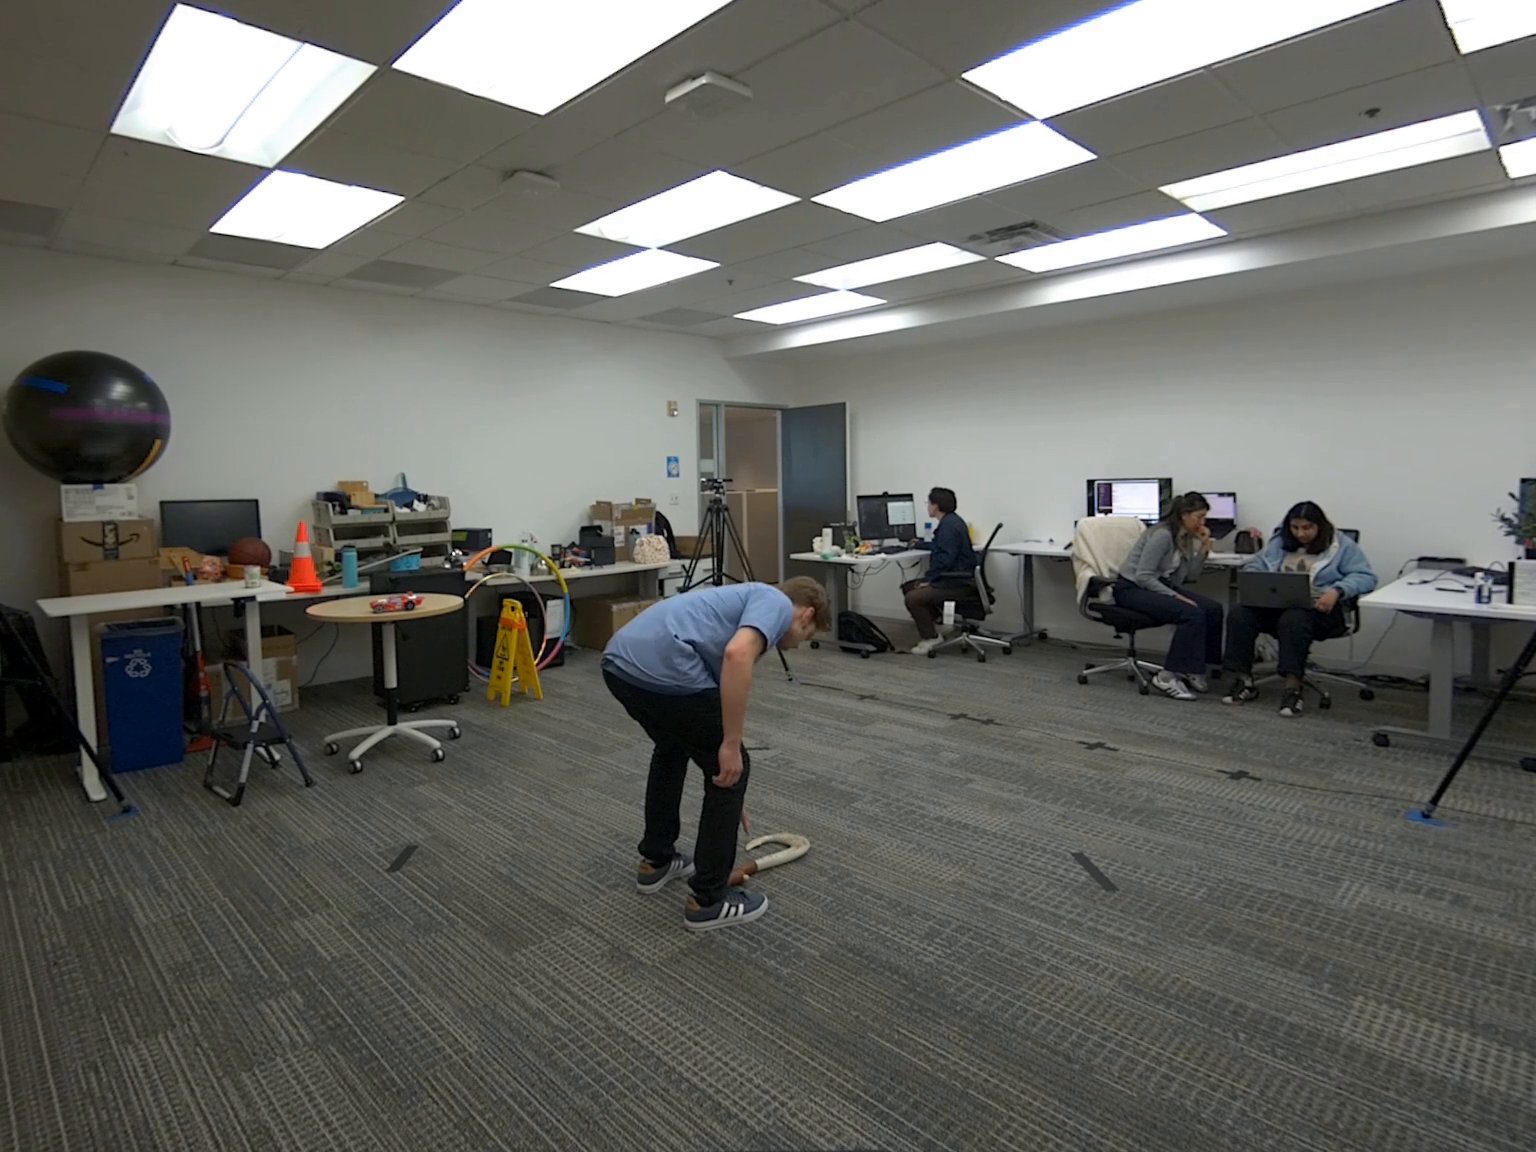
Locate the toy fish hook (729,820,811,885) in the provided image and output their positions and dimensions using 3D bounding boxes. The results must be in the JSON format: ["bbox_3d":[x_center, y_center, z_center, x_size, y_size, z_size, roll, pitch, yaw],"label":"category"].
[{"bbox_3d":[-0.051,1.028,3.099,0.230,0.048,0.493,-6,1,41],"label":"toy fish hook"}]
